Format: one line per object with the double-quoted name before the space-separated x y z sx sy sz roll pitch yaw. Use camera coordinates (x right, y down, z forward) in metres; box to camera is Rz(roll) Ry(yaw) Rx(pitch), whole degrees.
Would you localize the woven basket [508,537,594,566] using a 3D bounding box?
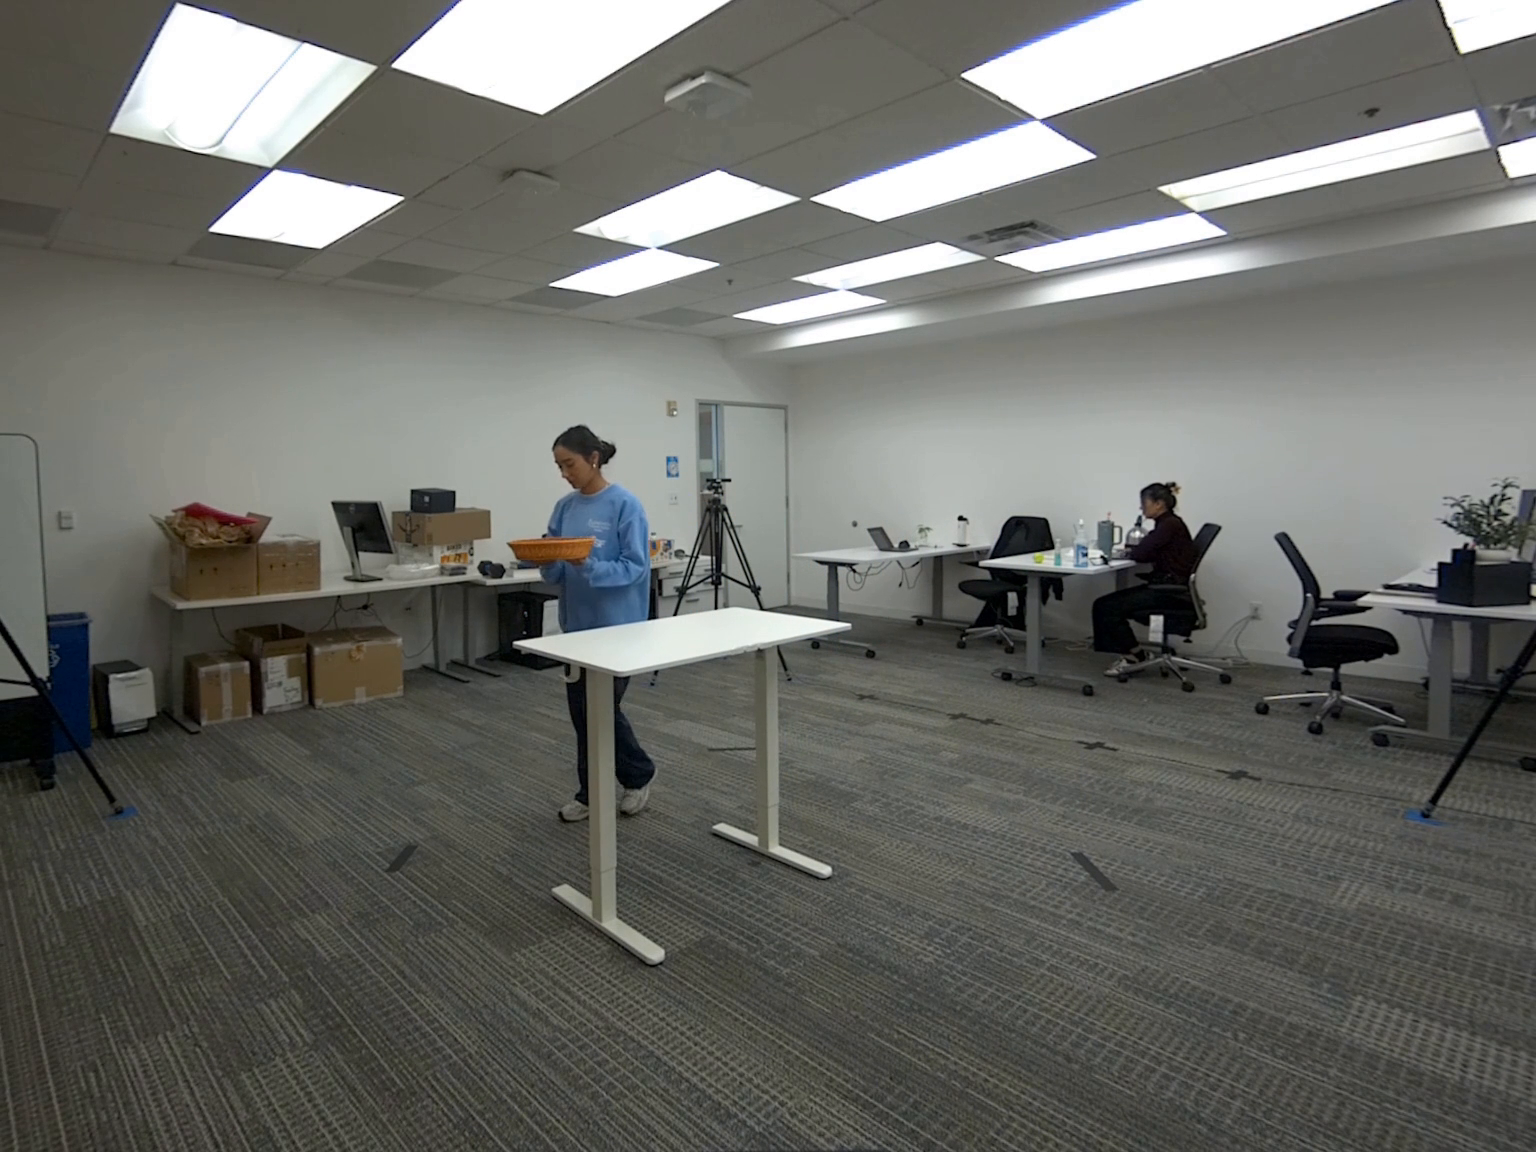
"woven basket" -0.835 -0.093 3.245 0.359 0.073 0.247 0 7 28
